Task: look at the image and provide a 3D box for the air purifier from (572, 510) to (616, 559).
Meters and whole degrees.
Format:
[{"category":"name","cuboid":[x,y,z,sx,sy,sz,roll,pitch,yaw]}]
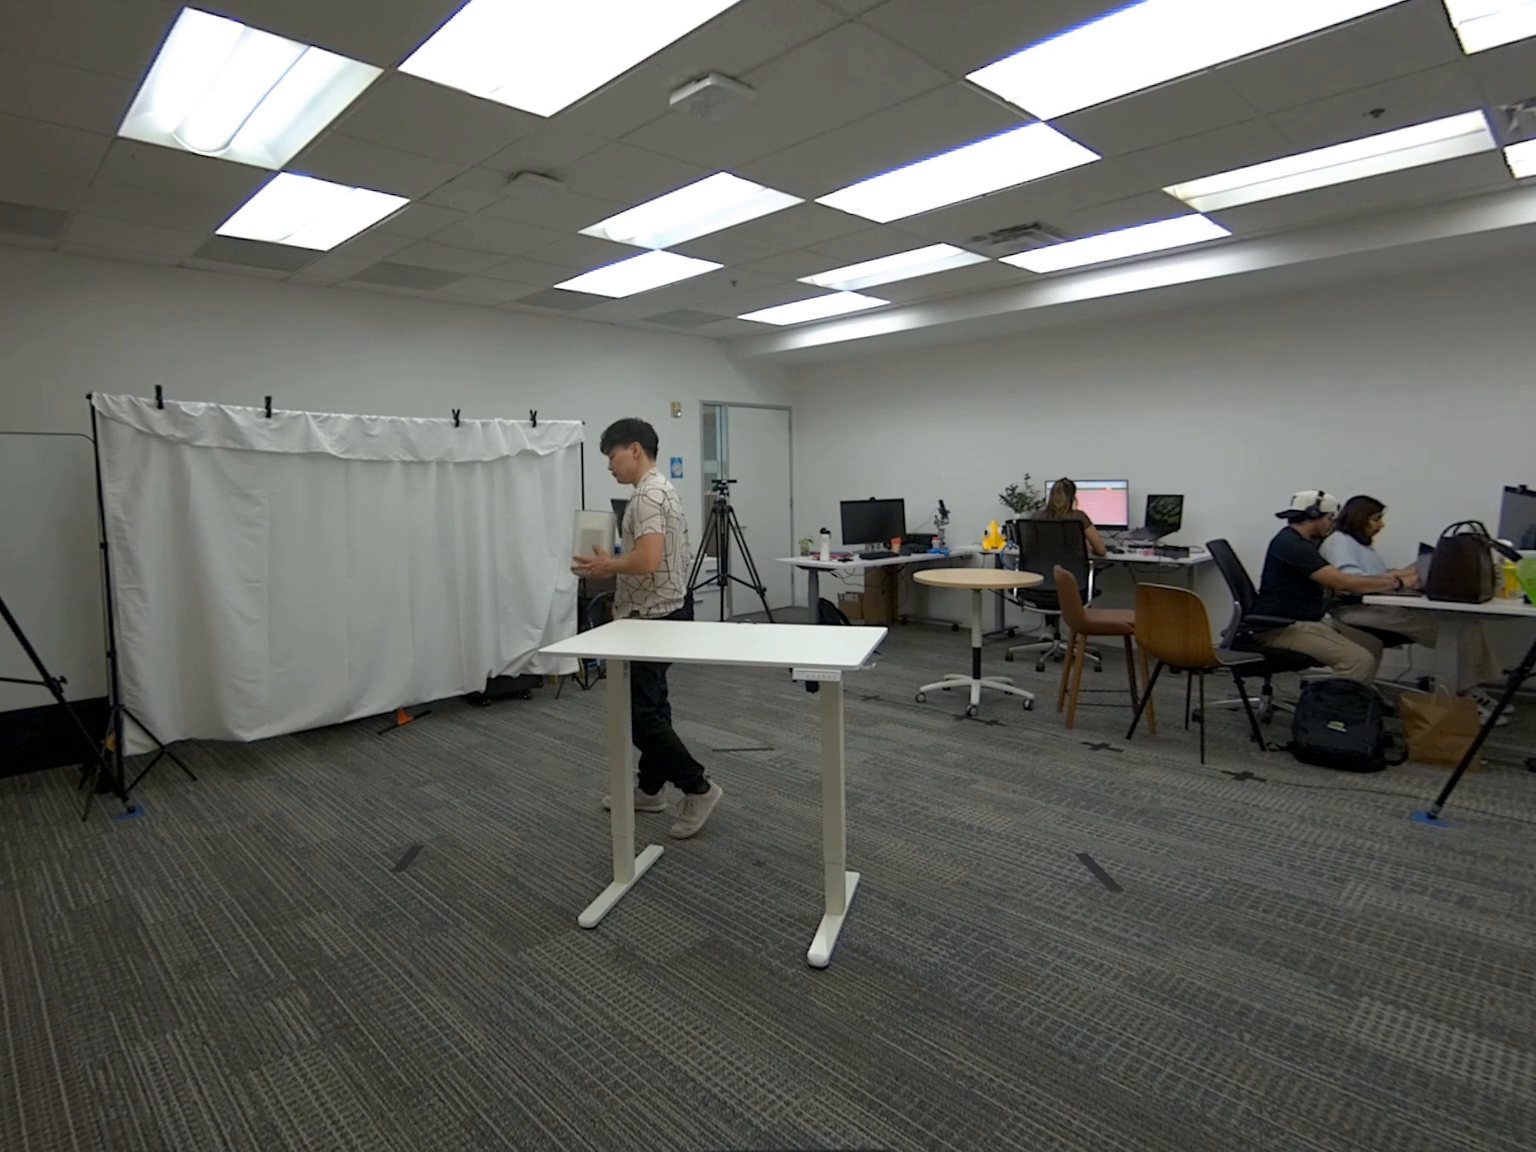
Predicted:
[{"category":"air purifier","cuboid":[-0.722,-0.133,3.549,0.171,0.266,0.171,4,-5,-3]}]
